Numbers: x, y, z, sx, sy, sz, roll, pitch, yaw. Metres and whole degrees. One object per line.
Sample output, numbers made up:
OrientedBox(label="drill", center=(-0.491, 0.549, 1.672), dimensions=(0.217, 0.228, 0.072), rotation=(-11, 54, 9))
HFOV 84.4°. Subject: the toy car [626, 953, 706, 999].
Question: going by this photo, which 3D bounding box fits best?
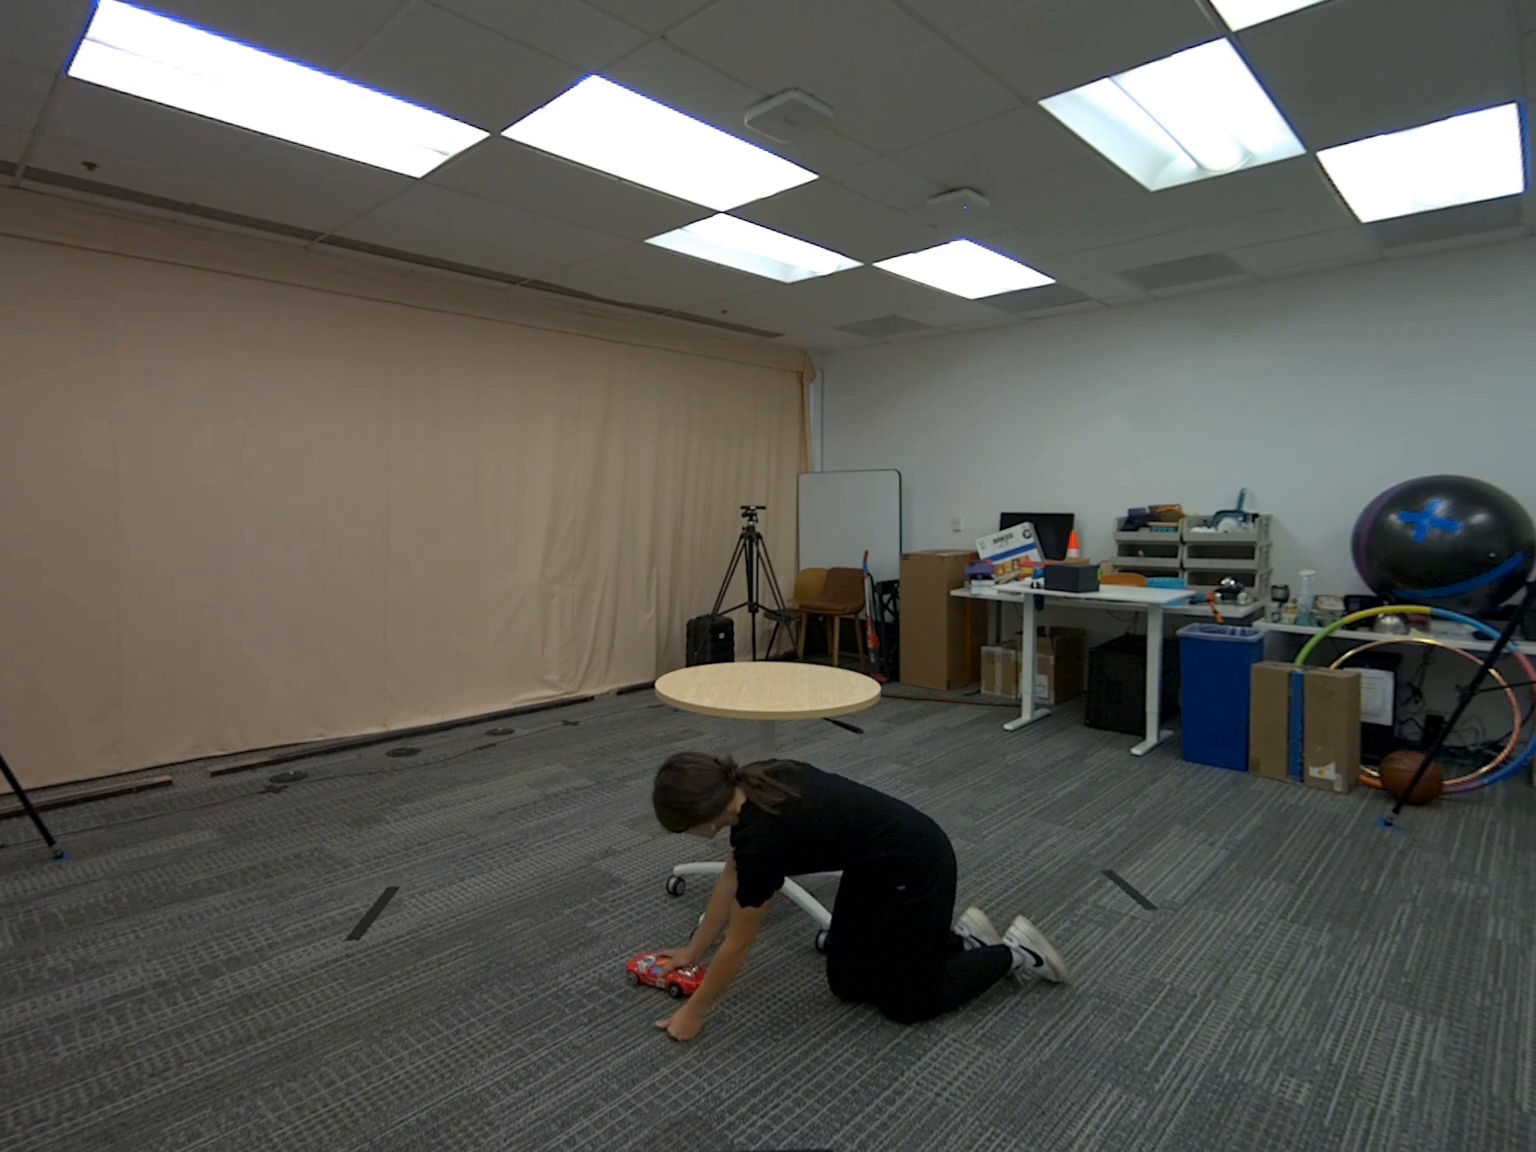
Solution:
OrientedBox(label="toy car", center=(-0.285, 1.164, 2.440), dimensions=(0.260, 0.083, 0.127), rotation=(-9, -1, 27))
